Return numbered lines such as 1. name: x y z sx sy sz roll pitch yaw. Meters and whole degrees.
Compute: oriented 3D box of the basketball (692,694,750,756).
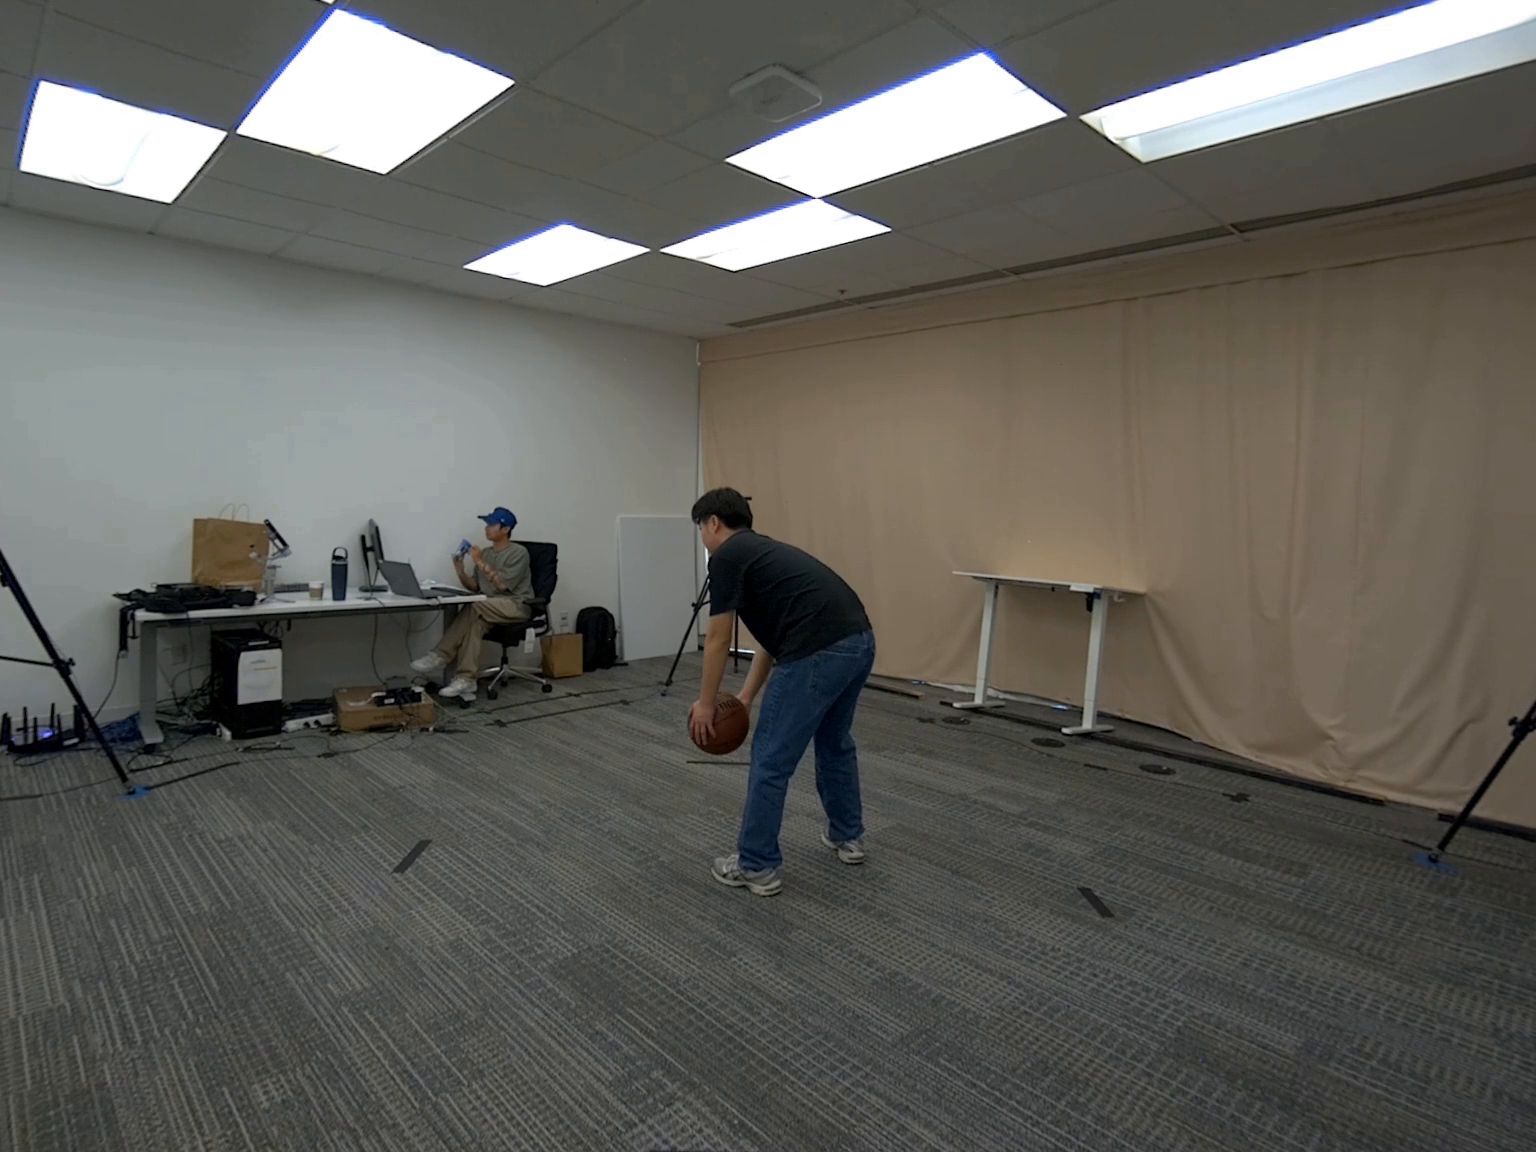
1. basketball: -0.188 0.561 3.228 0.236 0.235 0.237 1 4 -1
